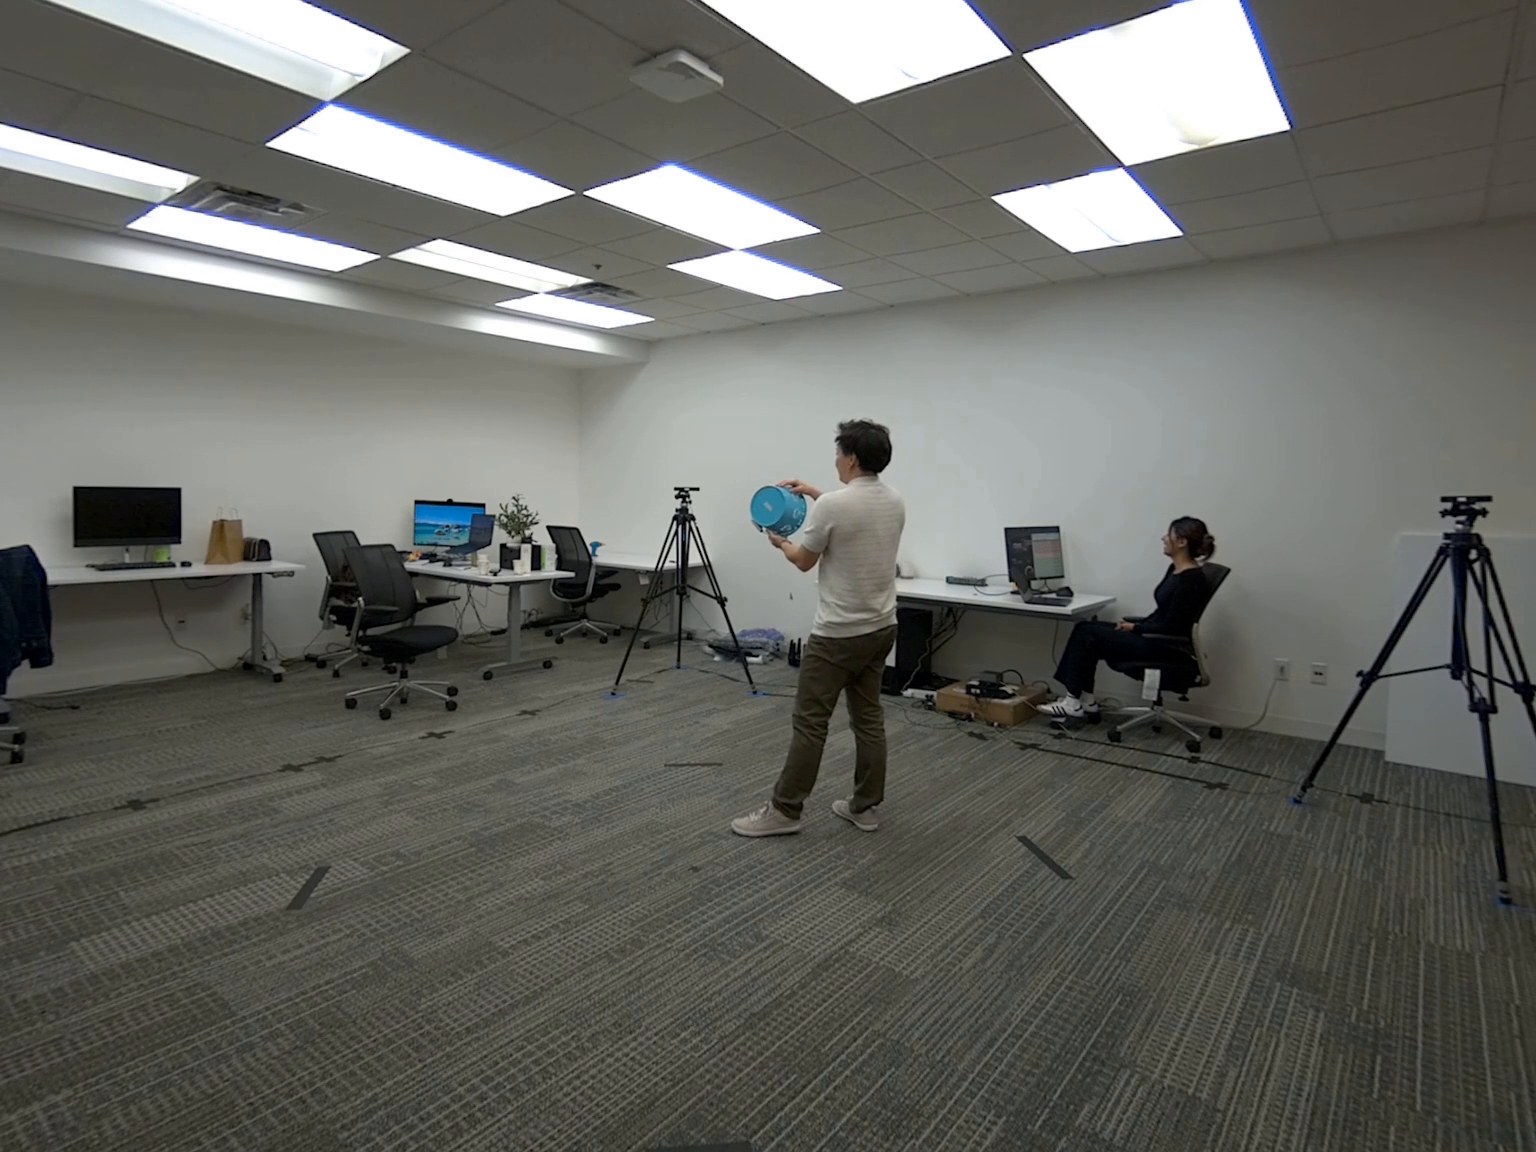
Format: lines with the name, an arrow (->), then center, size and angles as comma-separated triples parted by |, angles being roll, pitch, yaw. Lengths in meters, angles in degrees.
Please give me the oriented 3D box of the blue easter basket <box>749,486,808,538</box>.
blue easter basket -> 0.019, -0.301, 3.832 | 0.251, 0.245, 0.150 | 3, -6, 33
